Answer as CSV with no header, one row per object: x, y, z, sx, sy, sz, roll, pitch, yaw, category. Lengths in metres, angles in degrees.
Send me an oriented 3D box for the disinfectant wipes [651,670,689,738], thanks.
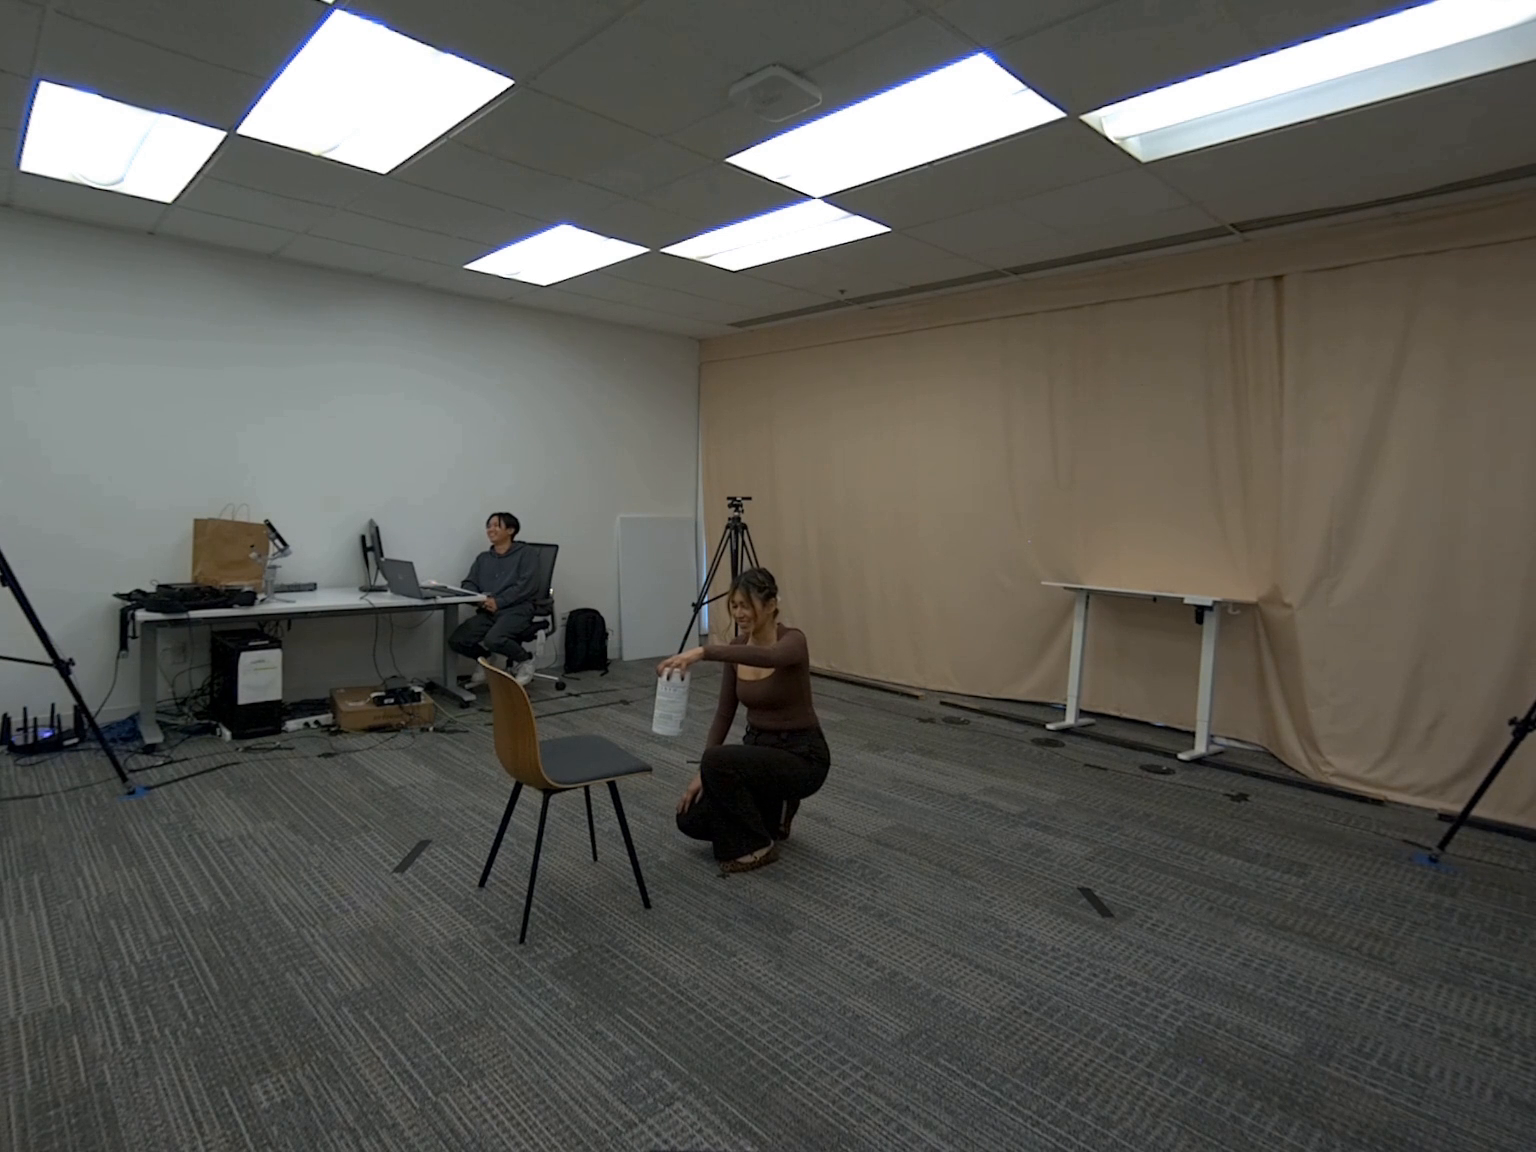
-0.336,0.432,2.868,0.118,0.217,0.118,7,1,-2,disinfectant wipes
